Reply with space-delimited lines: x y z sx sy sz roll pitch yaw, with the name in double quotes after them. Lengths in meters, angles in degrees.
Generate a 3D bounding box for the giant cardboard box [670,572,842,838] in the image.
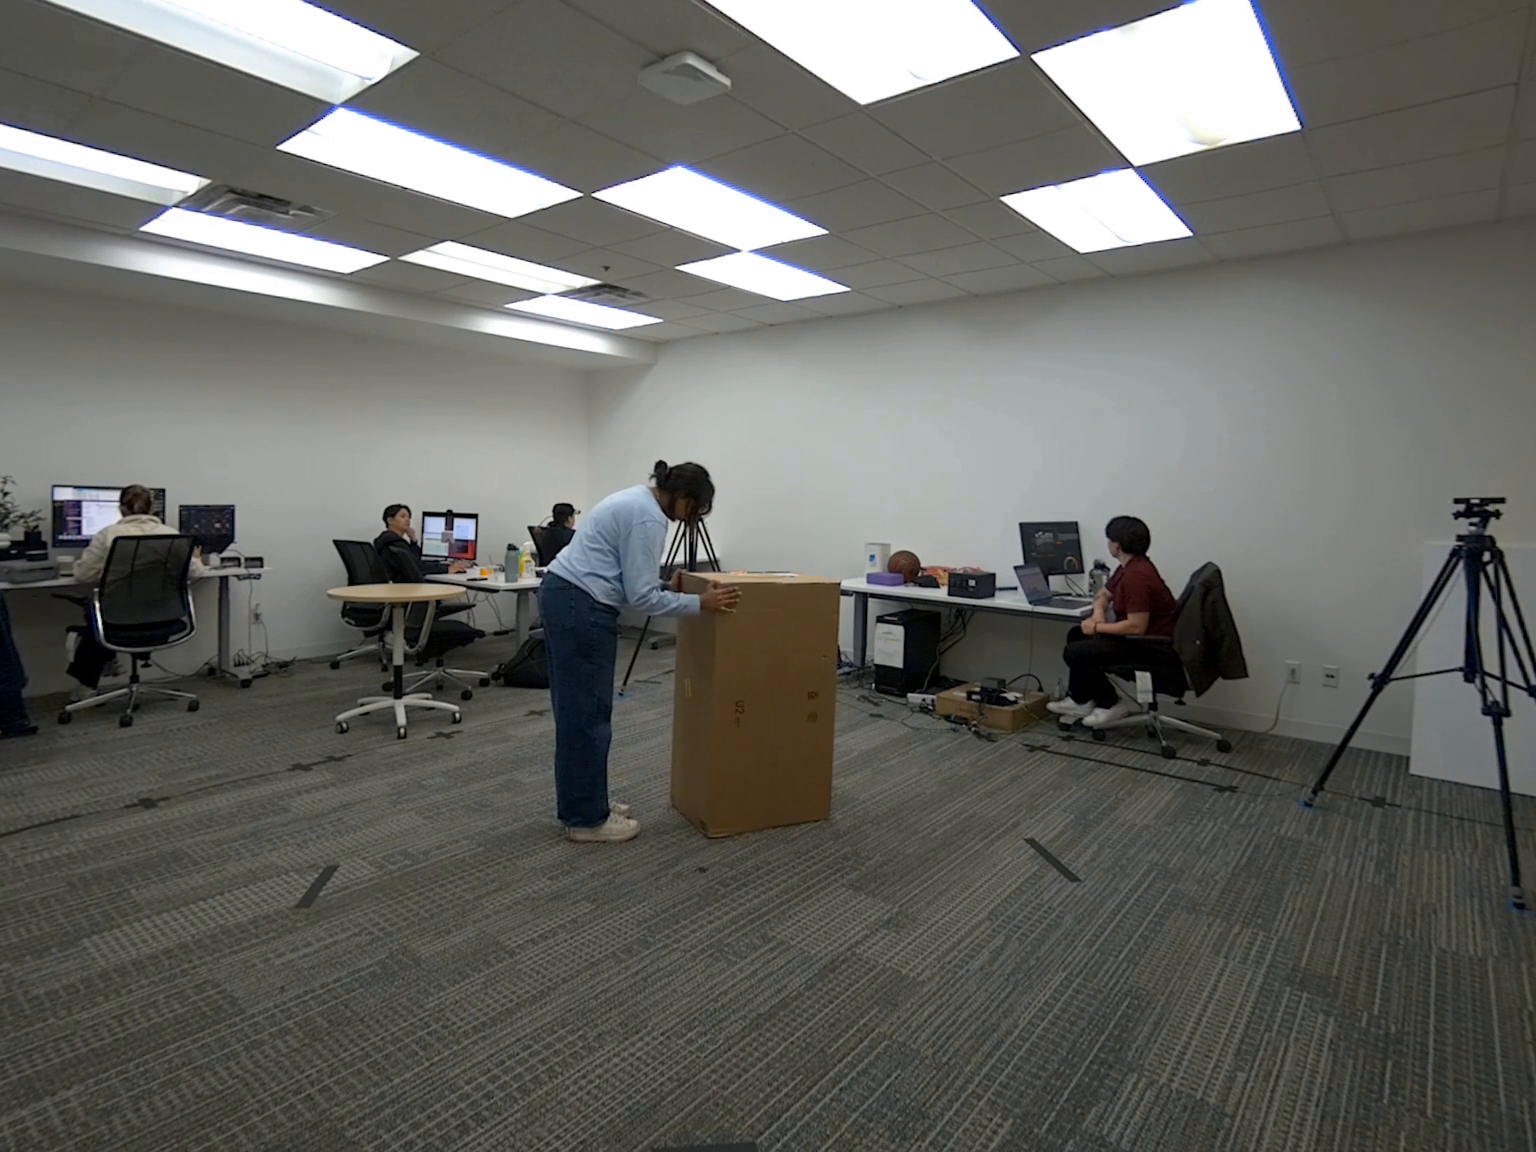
-0.072 0.514 3.664 0.563 1.023 0.438 1 3 -27 "giant cardboard box"
